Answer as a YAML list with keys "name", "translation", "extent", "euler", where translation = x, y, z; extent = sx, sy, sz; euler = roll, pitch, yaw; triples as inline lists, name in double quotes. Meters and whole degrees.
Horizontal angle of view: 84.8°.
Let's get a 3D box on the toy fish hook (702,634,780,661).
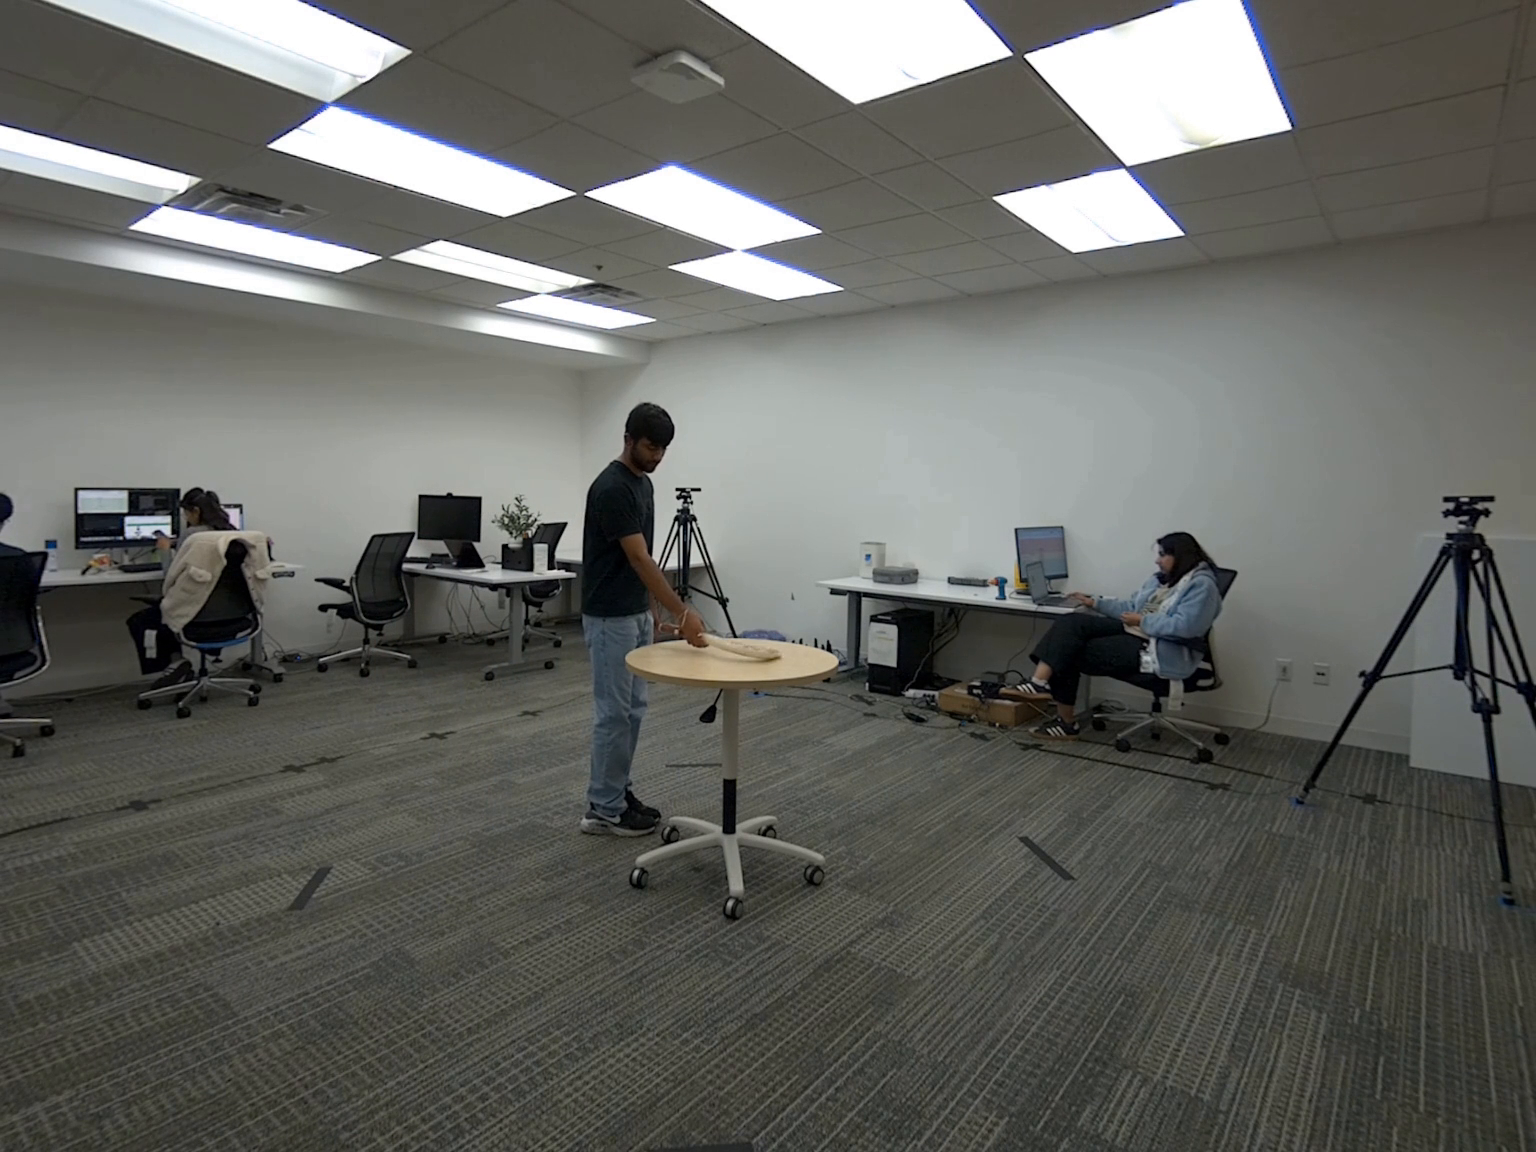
- name: "toy fish hook"
  translation: [-0.176, 0.243, 3.173]
  extent: [0.525, 0.048, 0.216]
  euler: [12, 1, 38]
